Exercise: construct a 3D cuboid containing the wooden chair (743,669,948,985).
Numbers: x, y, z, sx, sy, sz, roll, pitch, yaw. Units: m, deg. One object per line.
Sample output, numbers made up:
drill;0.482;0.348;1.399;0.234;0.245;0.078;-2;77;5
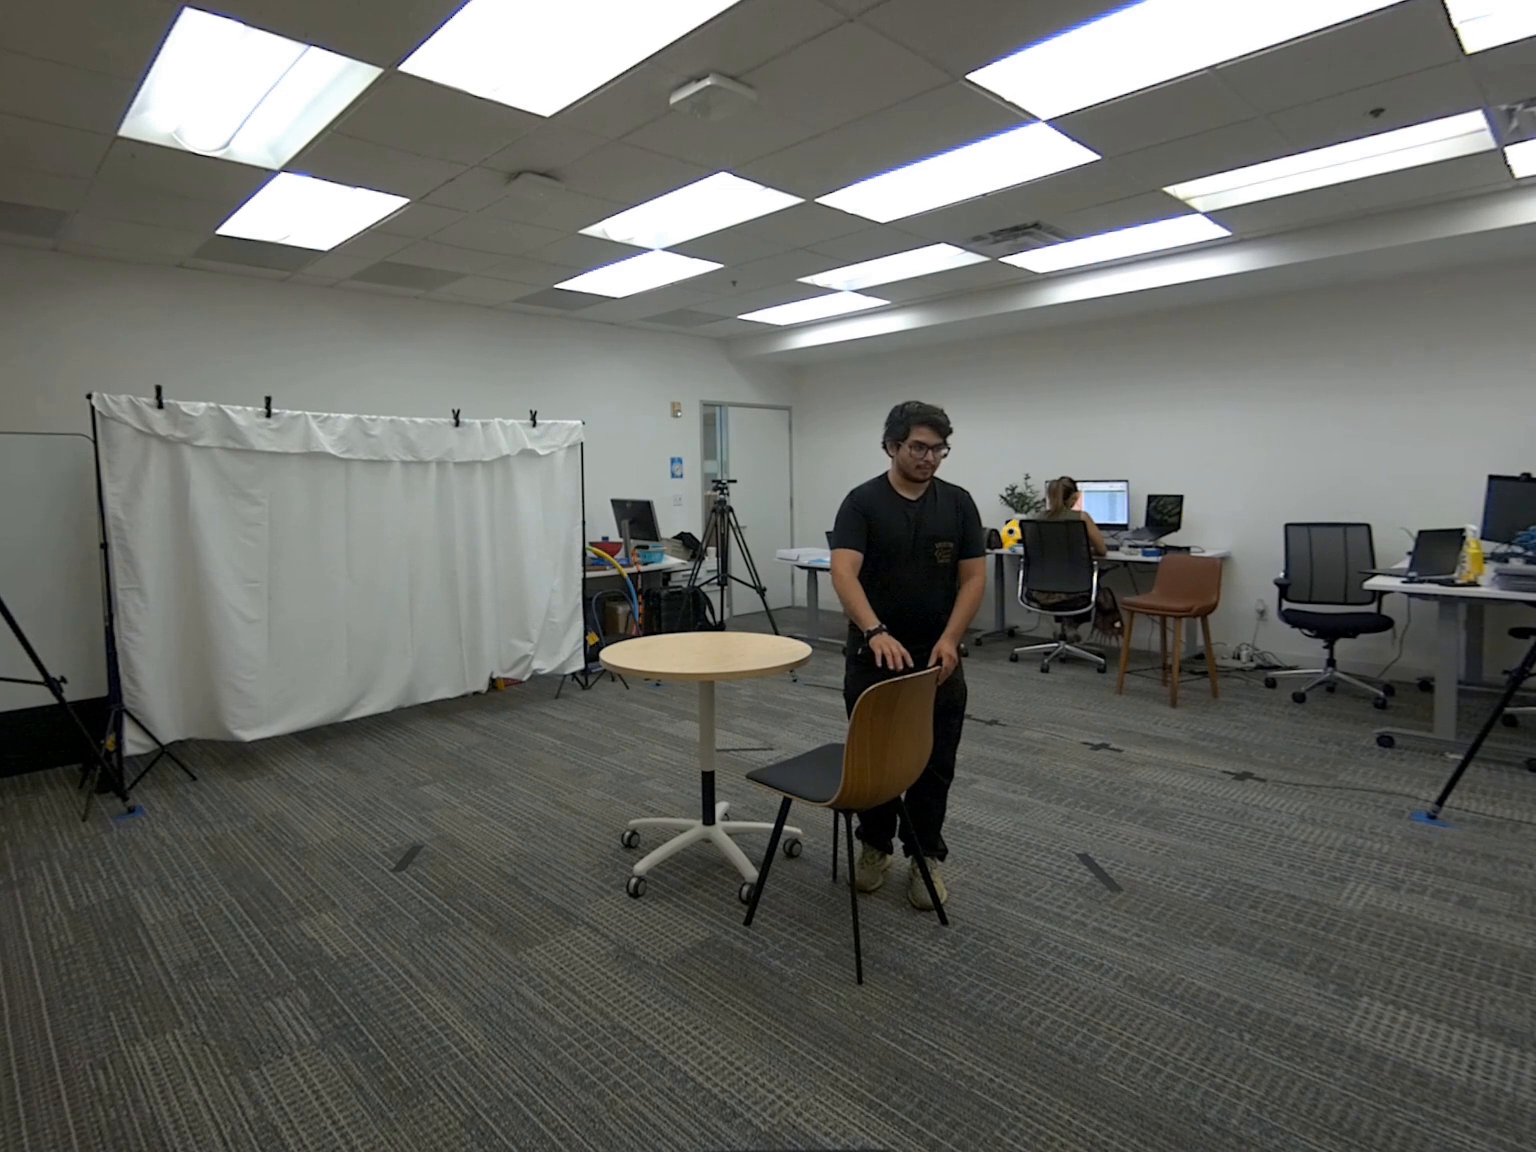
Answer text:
wooden chair;0.231;0.664;2.638;0.540;0.872;0.465;9;10;44
